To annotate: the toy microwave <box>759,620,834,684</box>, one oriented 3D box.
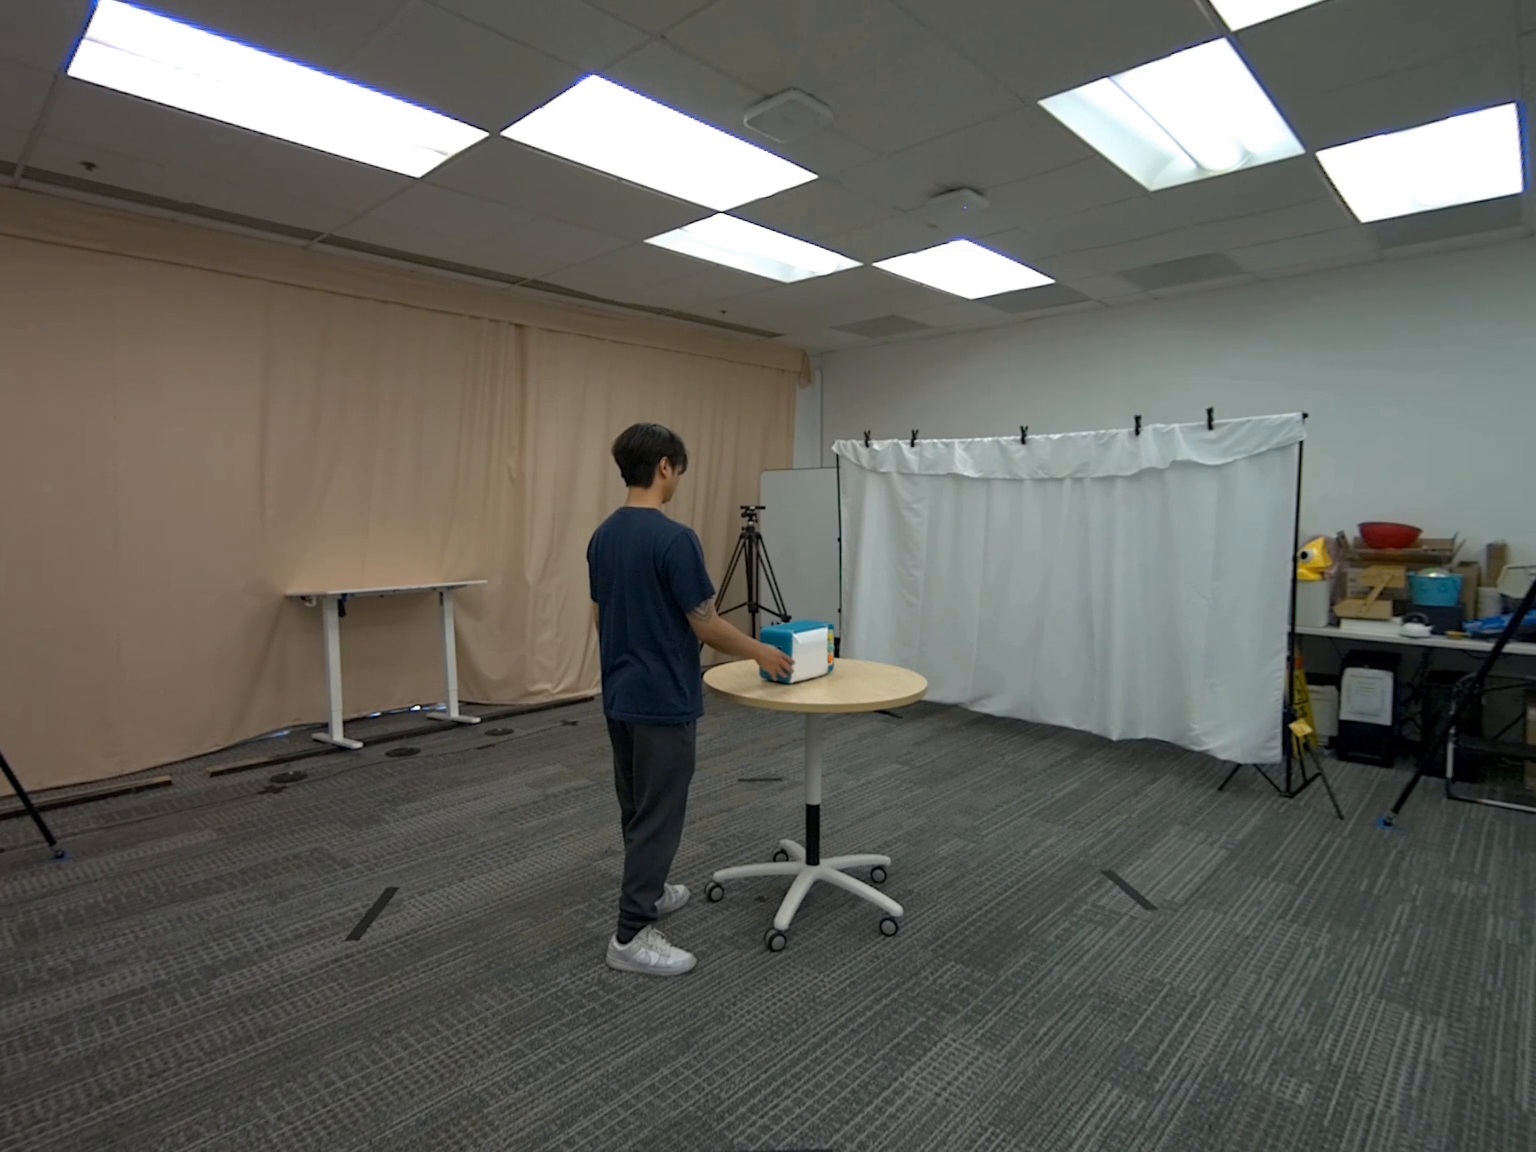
[{"bbox_3d":[0.125,0.262,2.905,0.157,0.183,0.278,4,7,33],"label":"toy microwave"}]
